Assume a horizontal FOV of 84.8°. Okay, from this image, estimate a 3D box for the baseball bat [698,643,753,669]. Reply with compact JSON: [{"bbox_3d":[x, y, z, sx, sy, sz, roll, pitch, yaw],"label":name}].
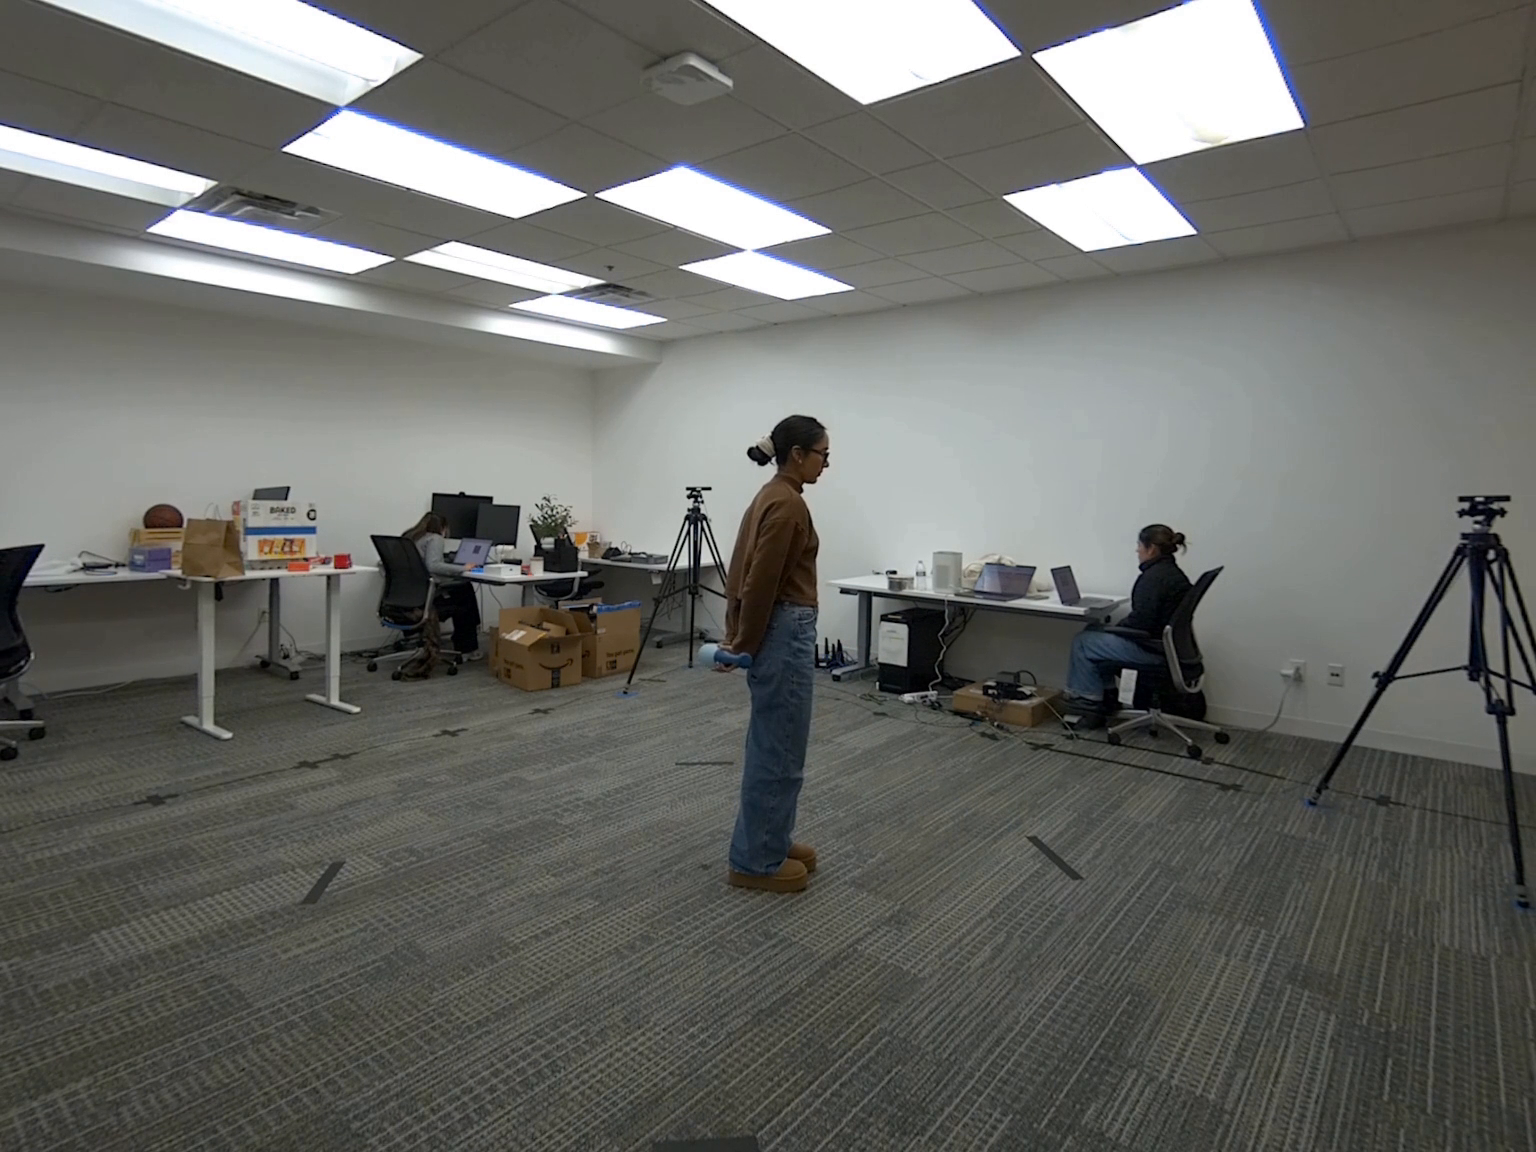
[{"bbox_3d":[-0.168,0.288,2.963,0.088,0.089,0.548,0,-3,-14],"label":"baseball bat"}]
